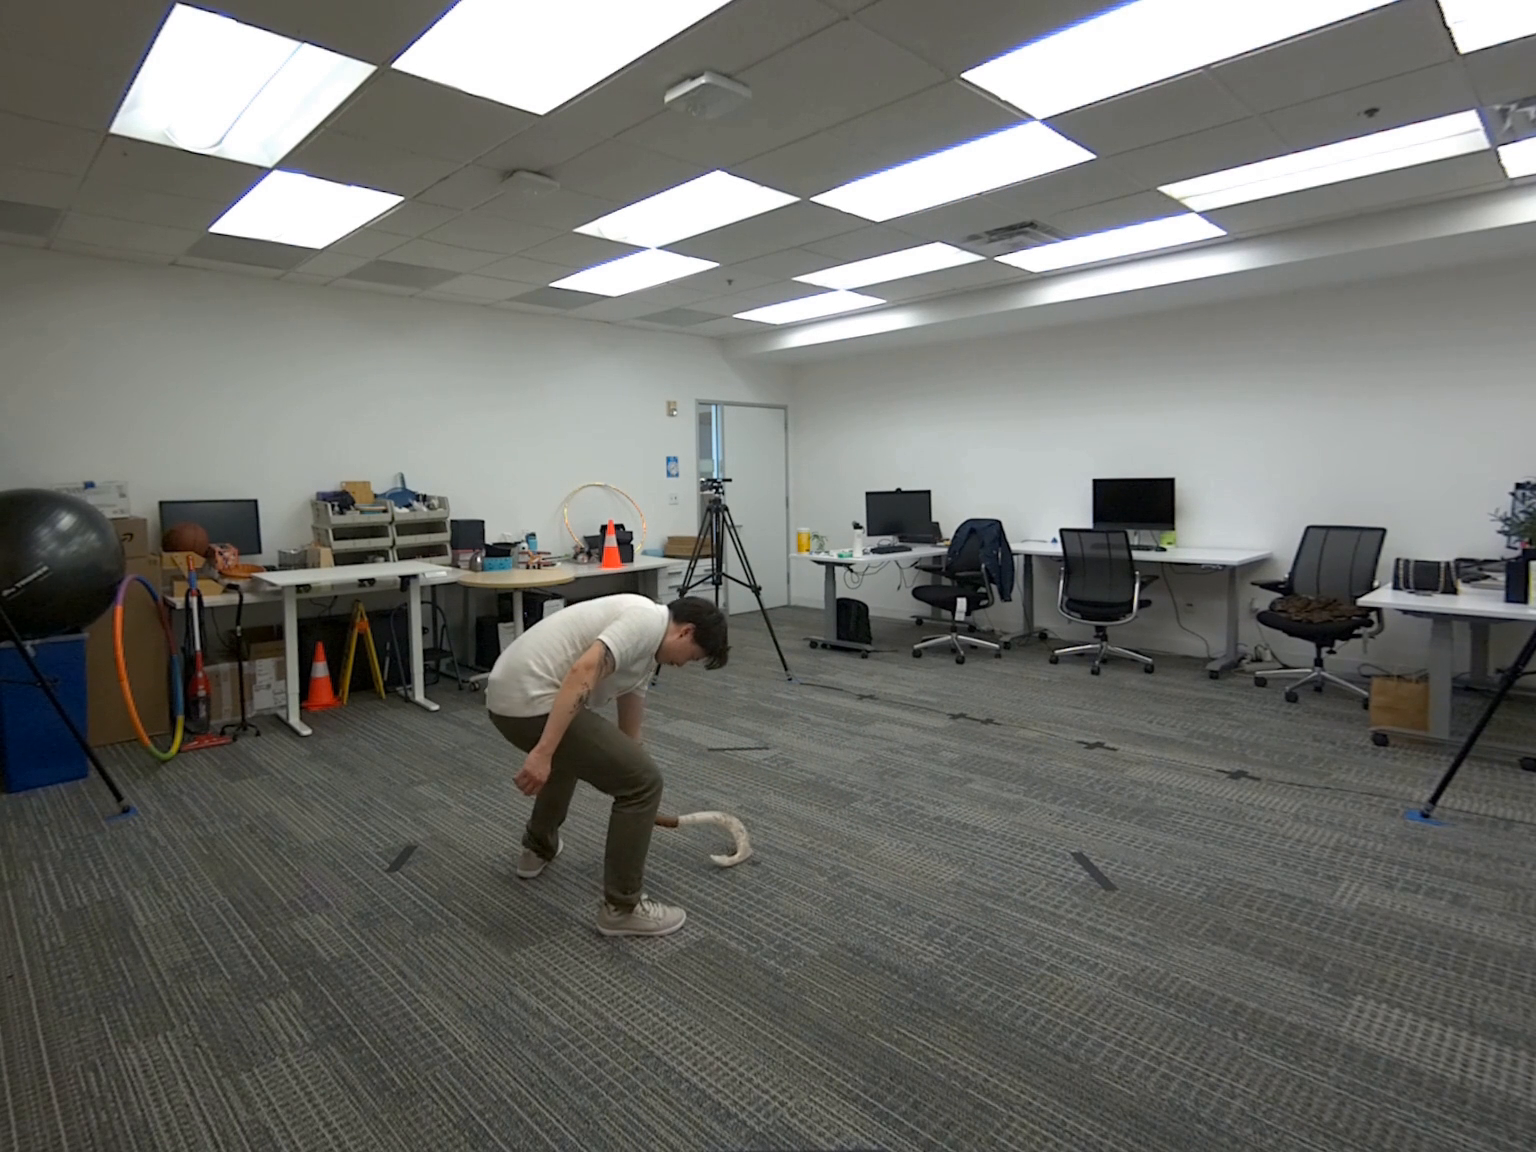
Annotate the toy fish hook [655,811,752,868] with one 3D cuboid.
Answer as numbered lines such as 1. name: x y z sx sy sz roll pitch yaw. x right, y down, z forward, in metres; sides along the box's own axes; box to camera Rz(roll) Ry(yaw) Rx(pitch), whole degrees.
1. toy fish hook: -0.280 0.939 3.104 0.492 0.048 0.233 15 26 -28
